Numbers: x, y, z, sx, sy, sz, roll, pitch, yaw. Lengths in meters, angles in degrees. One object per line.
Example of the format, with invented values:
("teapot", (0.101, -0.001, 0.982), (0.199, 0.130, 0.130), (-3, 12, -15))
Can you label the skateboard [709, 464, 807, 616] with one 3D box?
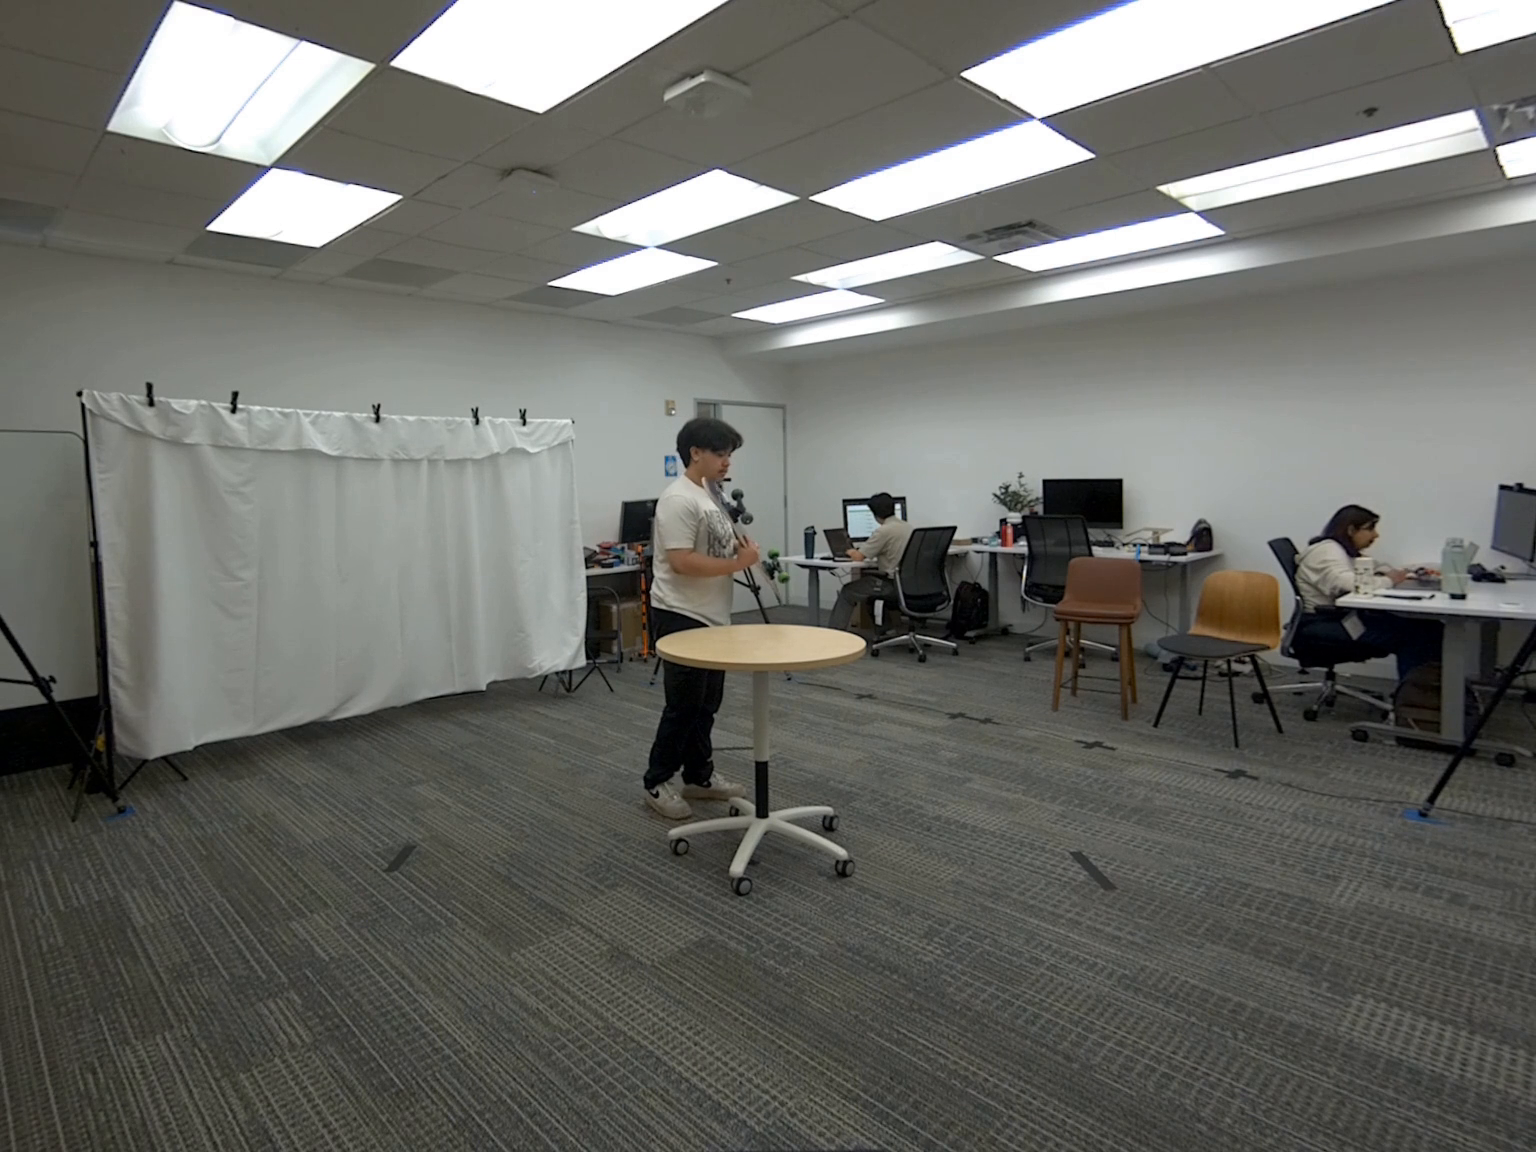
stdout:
("skateboard", (-0.051, -0.147, 3.532), (0.111, 0.200, 0.755), (-25, -44, 7))
